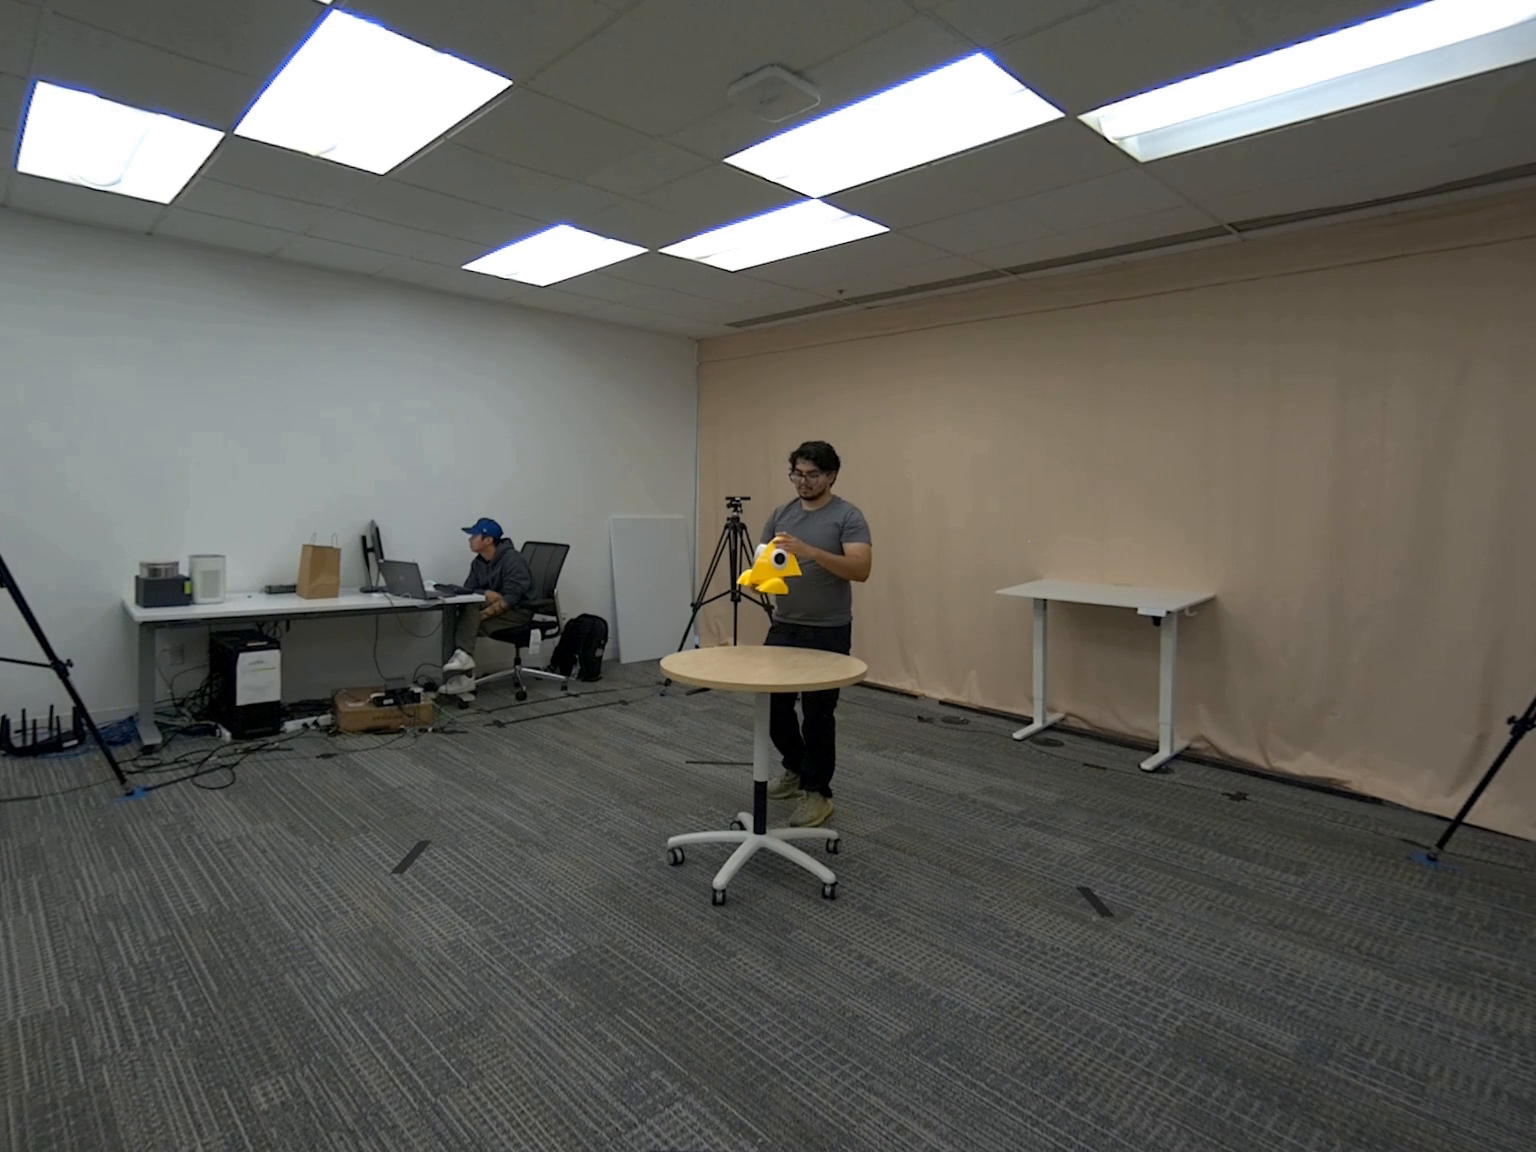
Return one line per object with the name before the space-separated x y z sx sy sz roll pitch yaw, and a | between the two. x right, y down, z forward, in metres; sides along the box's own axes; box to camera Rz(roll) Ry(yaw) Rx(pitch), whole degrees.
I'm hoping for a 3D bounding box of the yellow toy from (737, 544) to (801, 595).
yellow toy | -0.010 -0.063 3.344 0.188 0.230 0.211 4 9 -45
